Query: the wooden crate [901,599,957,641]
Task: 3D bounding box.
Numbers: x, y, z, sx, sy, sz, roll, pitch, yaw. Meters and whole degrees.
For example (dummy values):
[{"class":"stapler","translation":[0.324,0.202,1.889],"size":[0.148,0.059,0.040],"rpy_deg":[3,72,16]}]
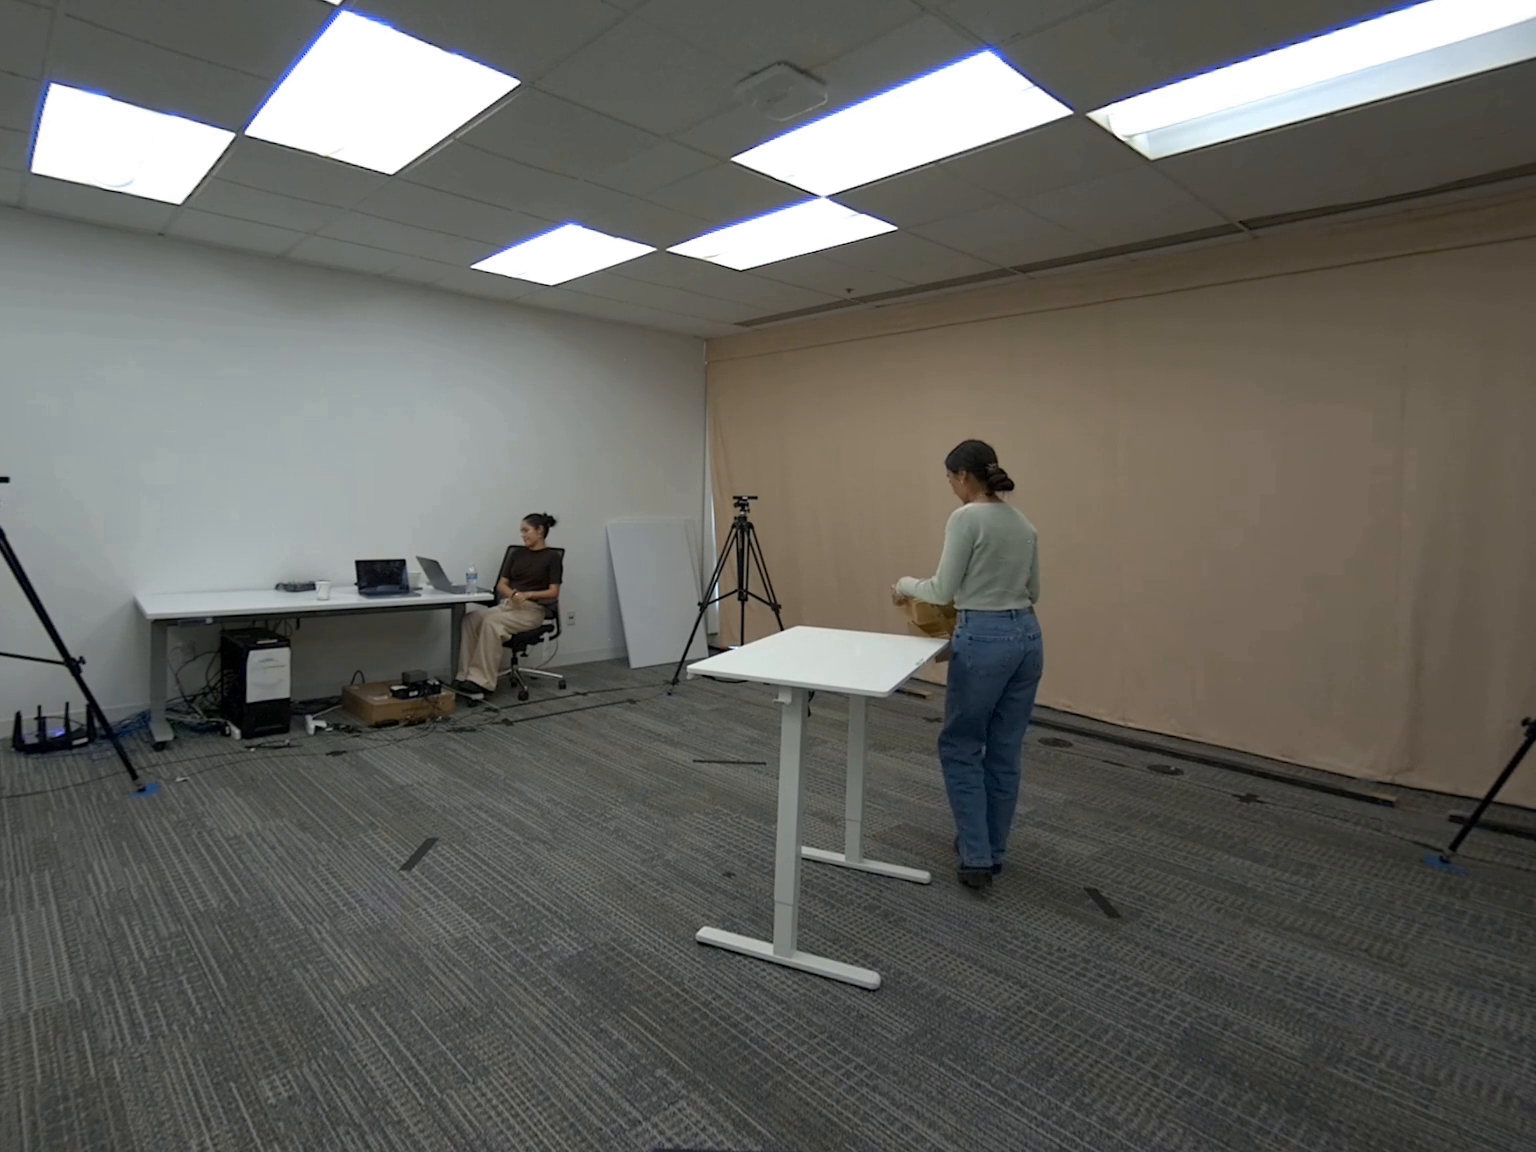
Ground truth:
[{"class":"wooden crate","translation":[0.720,0.161,3.438],"size":[0.301,0.270,0.329],"rpy_deg":[-12,13,-7]}]
